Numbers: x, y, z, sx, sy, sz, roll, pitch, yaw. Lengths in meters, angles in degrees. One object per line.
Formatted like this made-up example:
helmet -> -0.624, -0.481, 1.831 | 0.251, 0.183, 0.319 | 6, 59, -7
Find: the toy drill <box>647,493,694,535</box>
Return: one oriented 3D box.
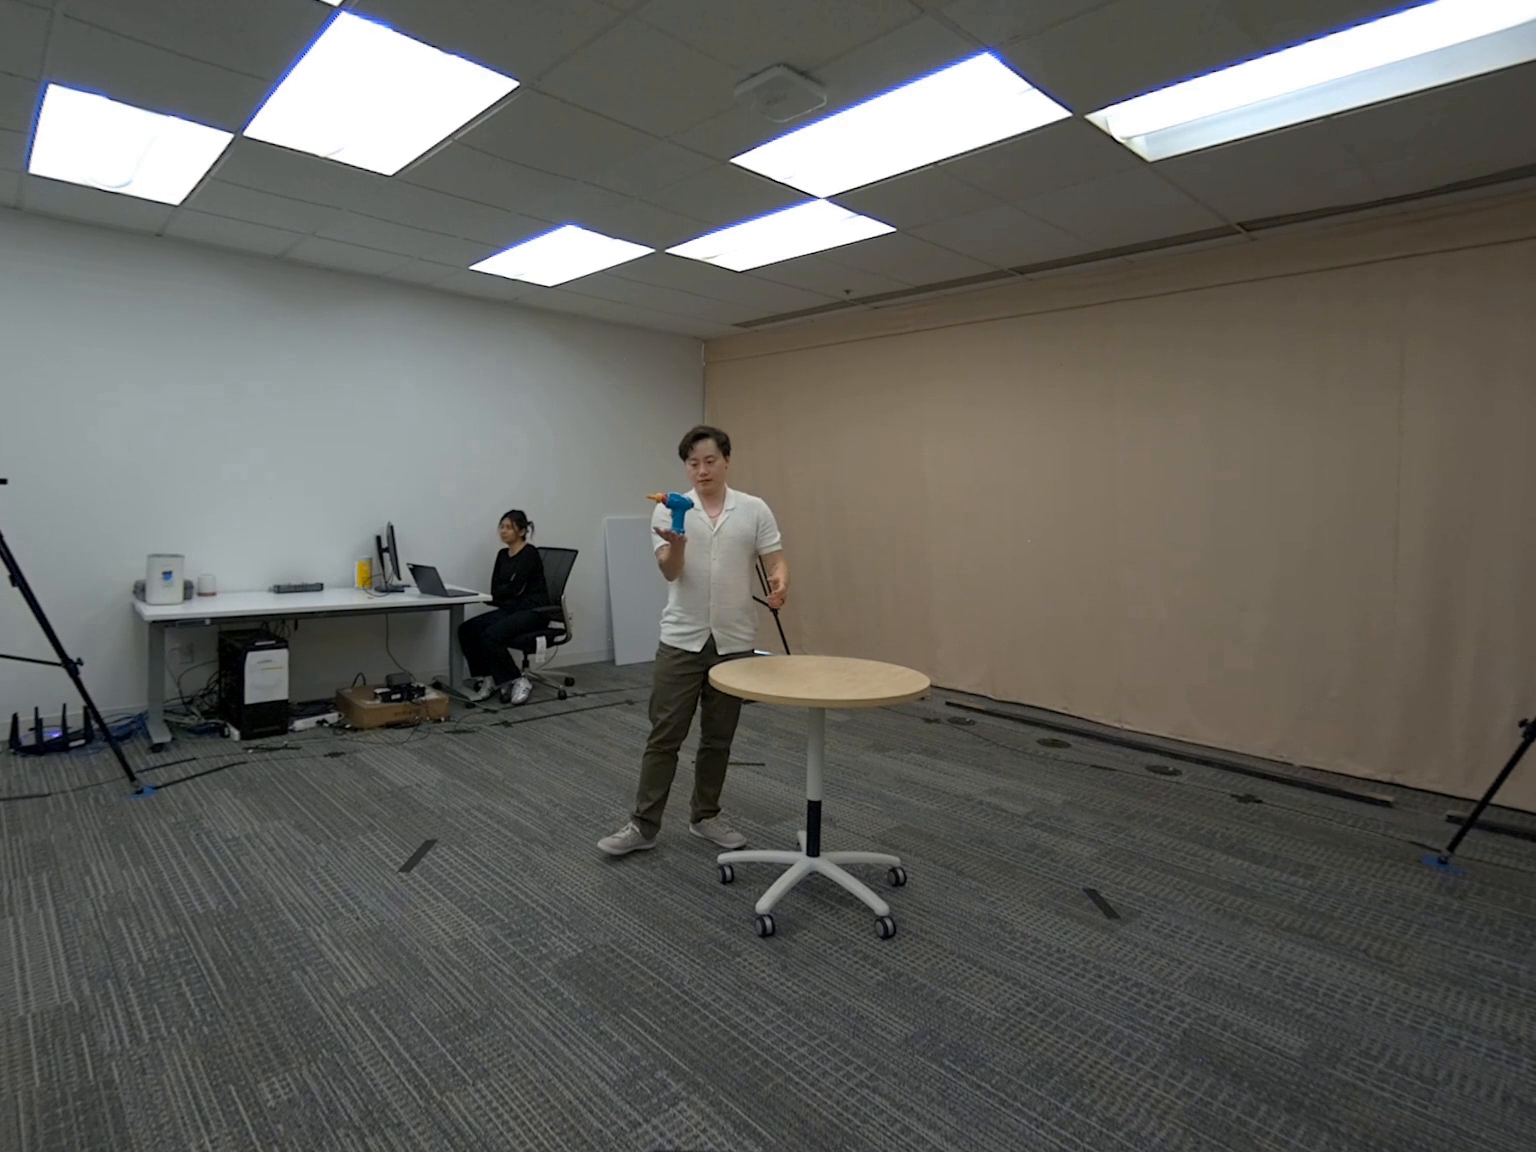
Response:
toy drill -> -0.366, -0.226, 2.933 | 0.169, 0.145, 0.061 | 10, 6, -3
